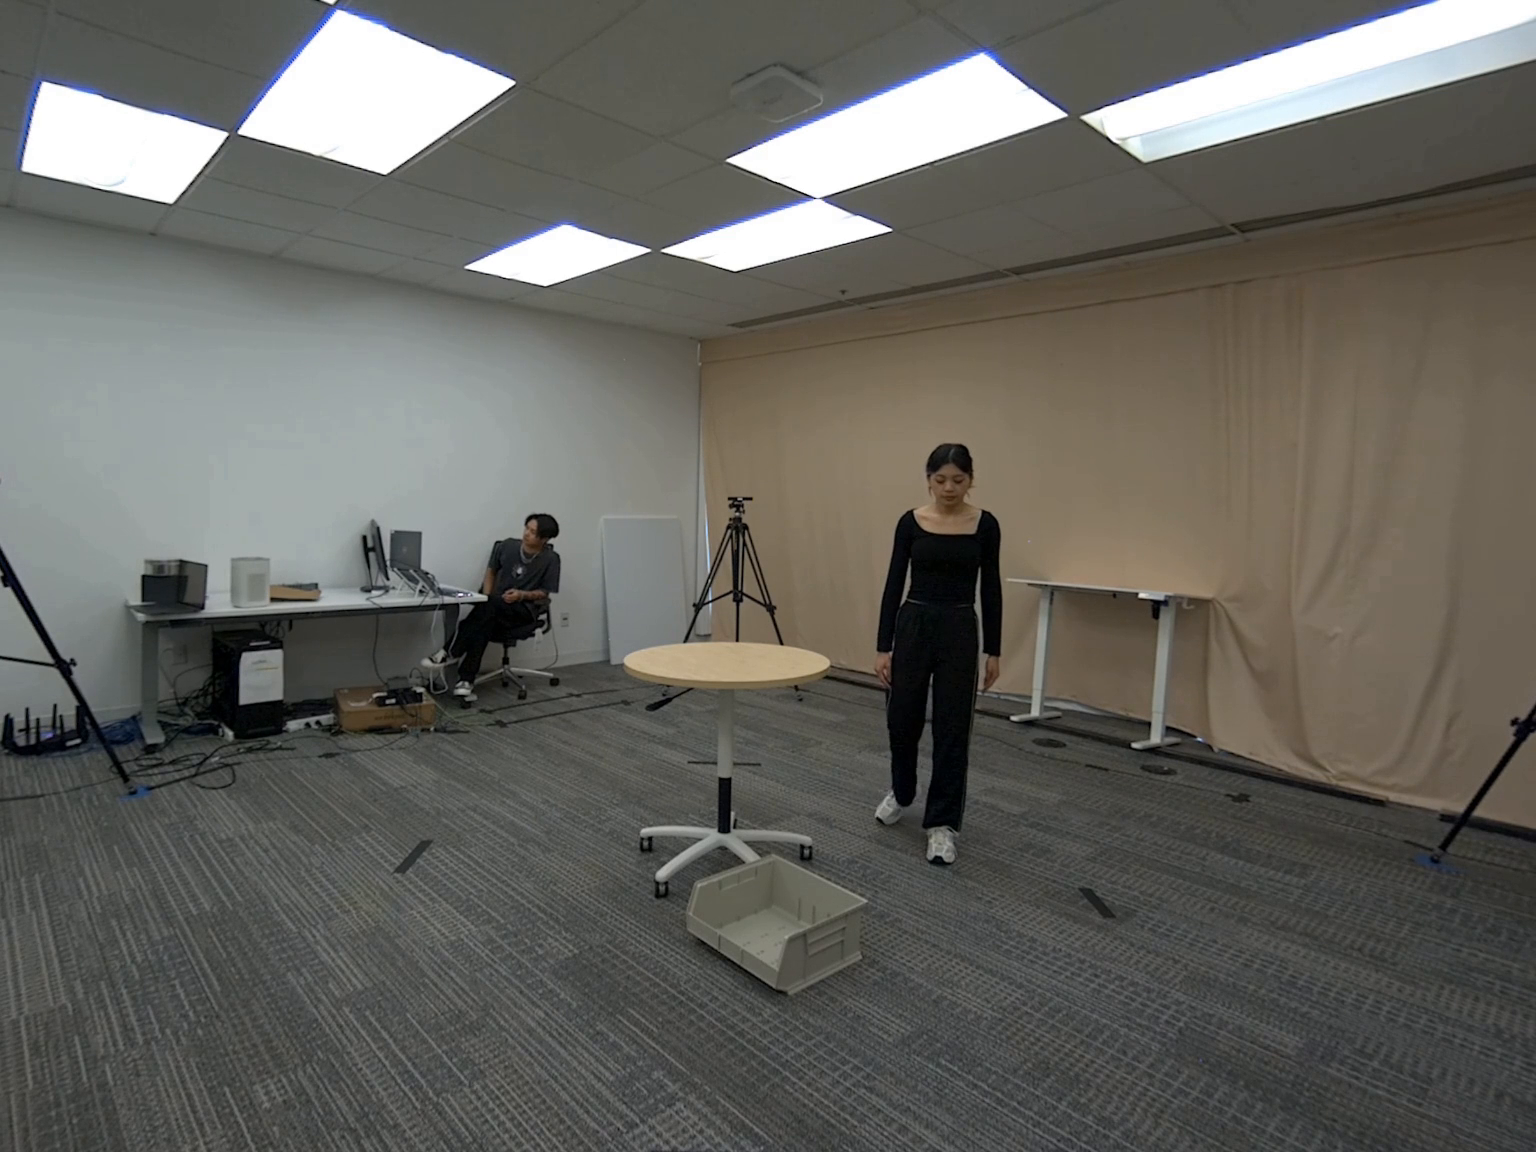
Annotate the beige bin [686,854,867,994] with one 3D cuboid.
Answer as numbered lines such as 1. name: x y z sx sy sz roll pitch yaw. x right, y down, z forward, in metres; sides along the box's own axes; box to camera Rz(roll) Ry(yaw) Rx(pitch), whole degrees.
1. beige bin: 0.016 1.072 2.599 0.369 0.188 0.433 -2 5 -42
